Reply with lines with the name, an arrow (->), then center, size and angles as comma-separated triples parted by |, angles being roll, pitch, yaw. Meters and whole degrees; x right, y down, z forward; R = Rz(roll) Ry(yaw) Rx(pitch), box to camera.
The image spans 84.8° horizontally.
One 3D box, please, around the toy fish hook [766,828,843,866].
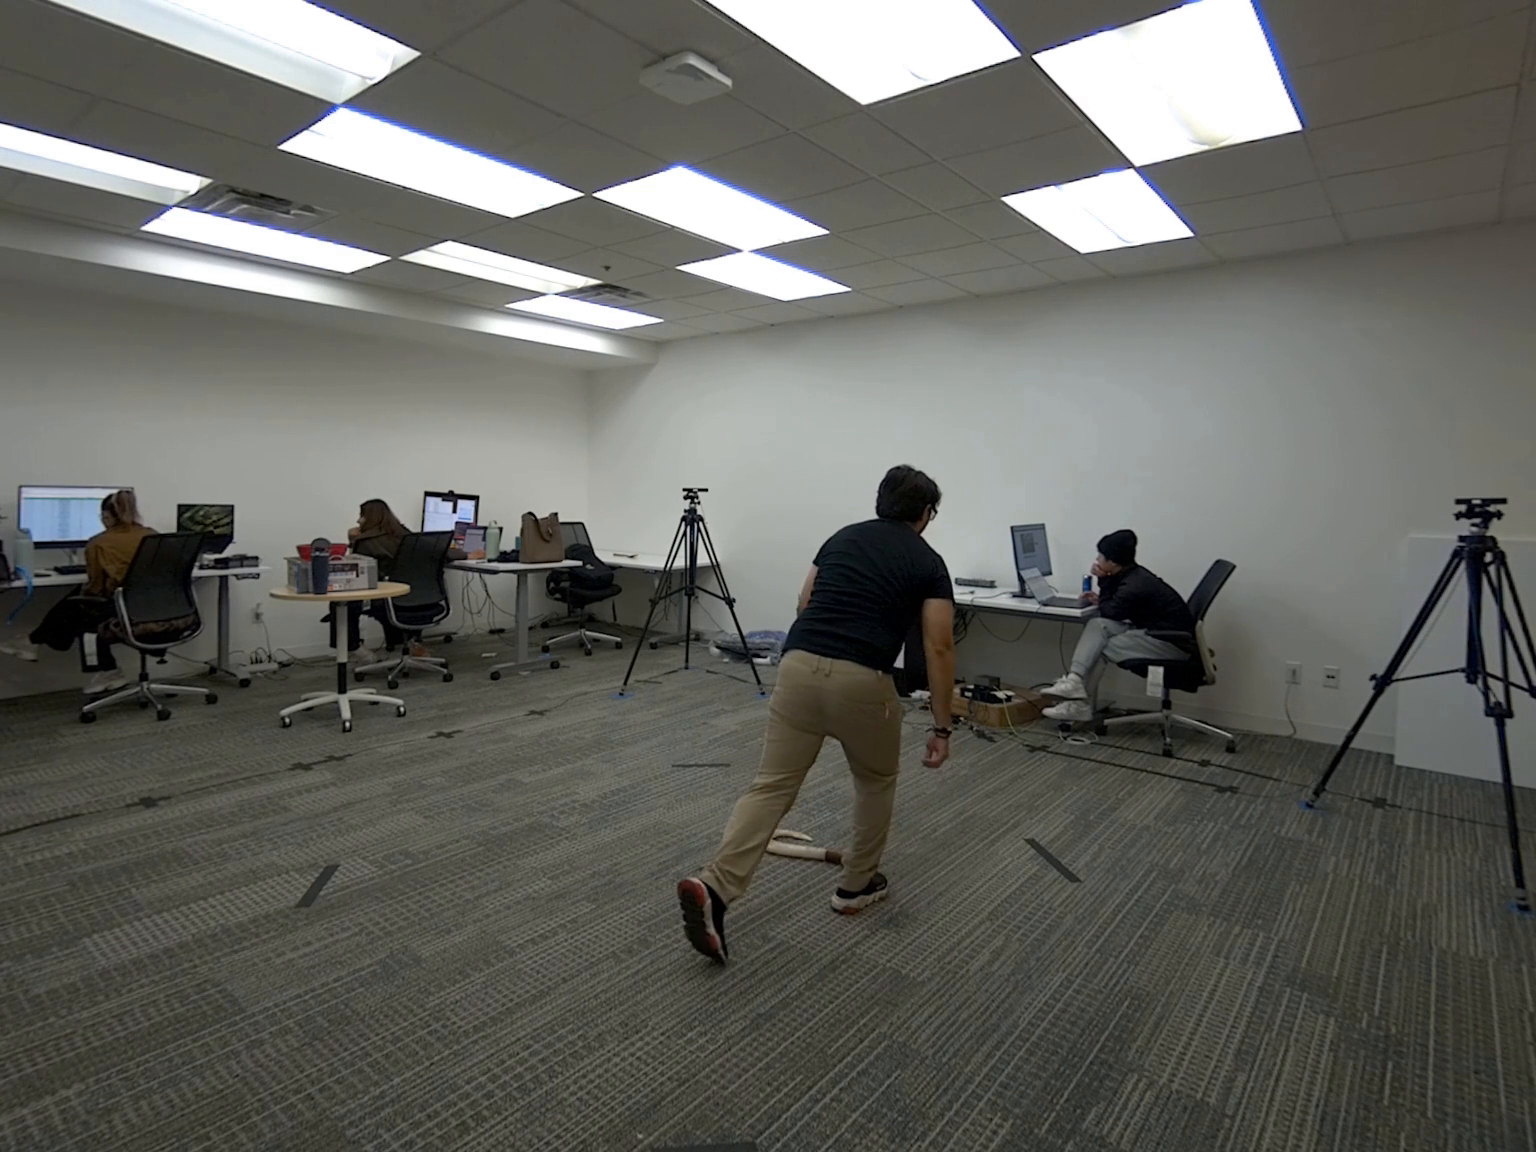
toy fish hook -> 0.185, 1.041, 3.272 | 0.521, 0.048, 0.219 | 5, 7, 27
